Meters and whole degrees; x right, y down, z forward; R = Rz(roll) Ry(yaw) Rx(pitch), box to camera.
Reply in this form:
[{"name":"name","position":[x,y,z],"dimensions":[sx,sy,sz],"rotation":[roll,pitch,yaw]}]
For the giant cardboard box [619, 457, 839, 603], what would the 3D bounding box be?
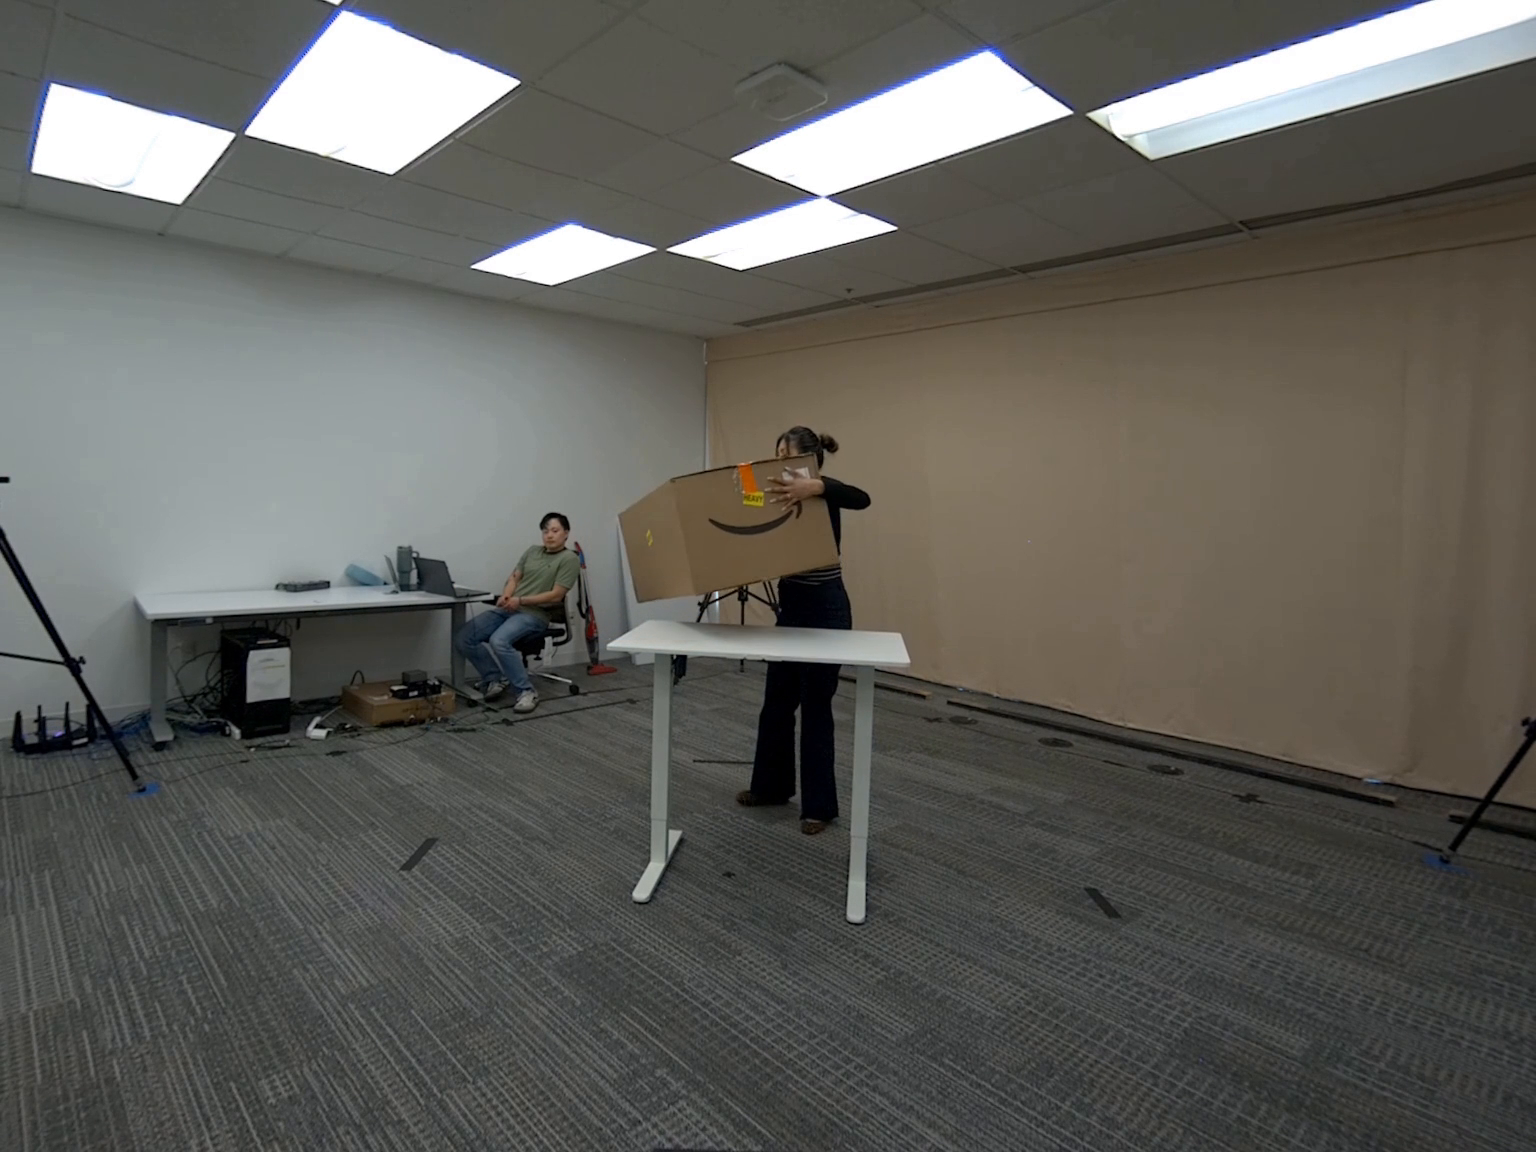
[{"name":"giant cardboard box","position":[-0.225,-0.162,3.501],"dimensions":[0.571,0.426,1.037],"rotation":[-13,1,-20]}]
